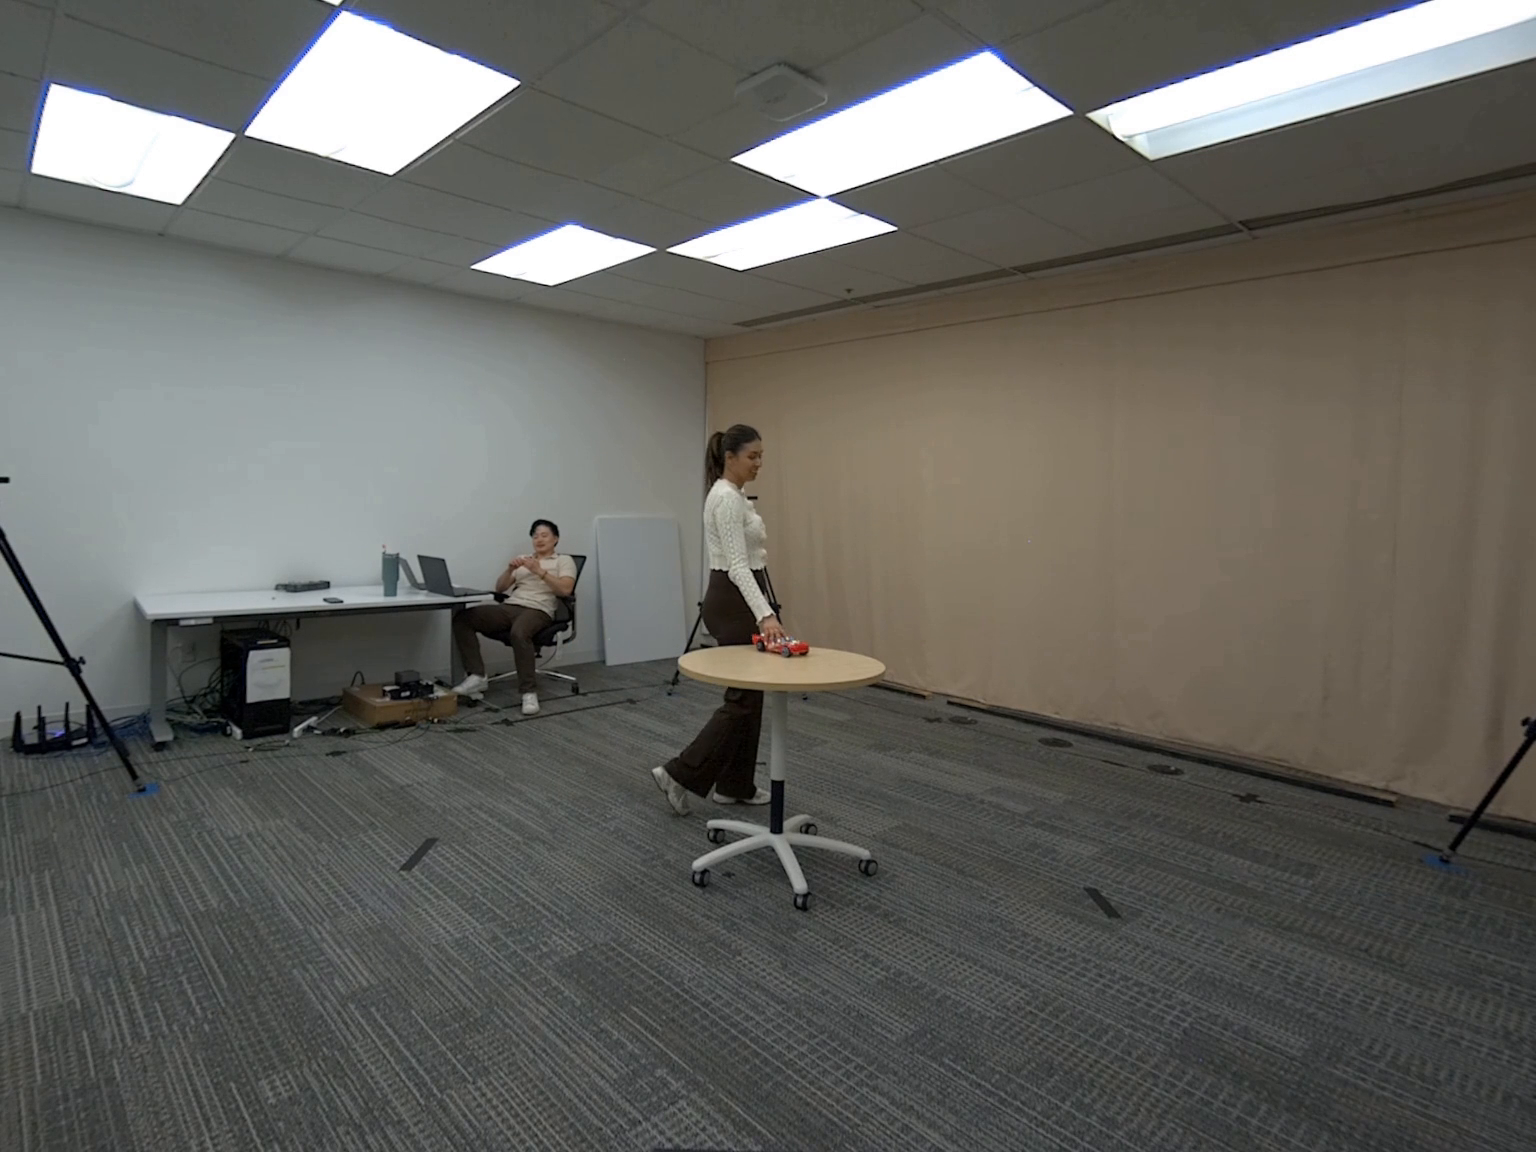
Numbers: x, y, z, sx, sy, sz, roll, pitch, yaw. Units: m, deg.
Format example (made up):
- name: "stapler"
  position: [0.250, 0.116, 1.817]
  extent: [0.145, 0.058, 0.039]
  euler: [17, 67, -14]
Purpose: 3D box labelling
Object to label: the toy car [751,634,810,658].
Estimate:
- name: "toy car"
  position: [0.029, 0.274, 3.338]
  extent: [0.127, 0.082, 0.262]
  euler: [-4, 17, -40]
